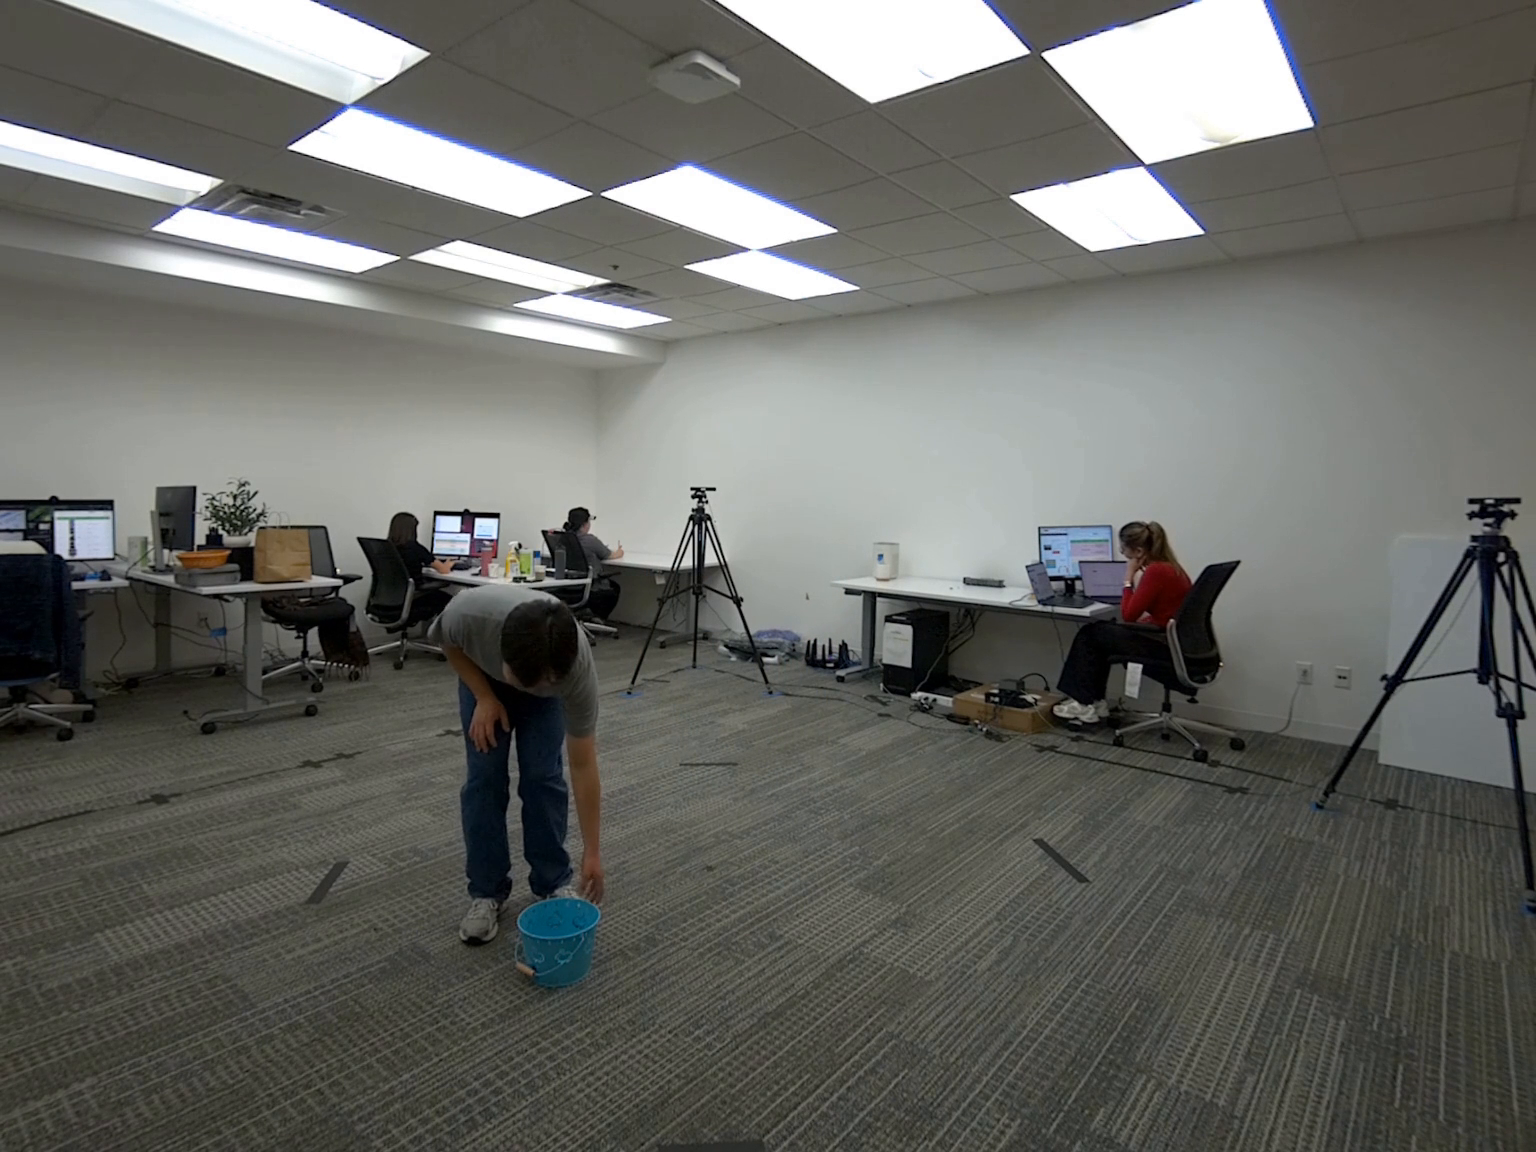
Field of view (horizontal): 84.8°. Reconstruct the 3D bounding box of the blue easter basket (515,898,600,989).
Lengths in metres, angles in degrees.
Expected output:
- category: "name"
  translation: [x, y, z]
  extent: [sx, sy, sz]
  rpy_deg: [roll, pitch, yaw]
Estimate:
- category: "blue easter basket"
  translation: [-0.613, 1.044, 2.440]
  extent: [0.243, 0.155, 0.245]
  rpy_deg: [1, 4, -2]
